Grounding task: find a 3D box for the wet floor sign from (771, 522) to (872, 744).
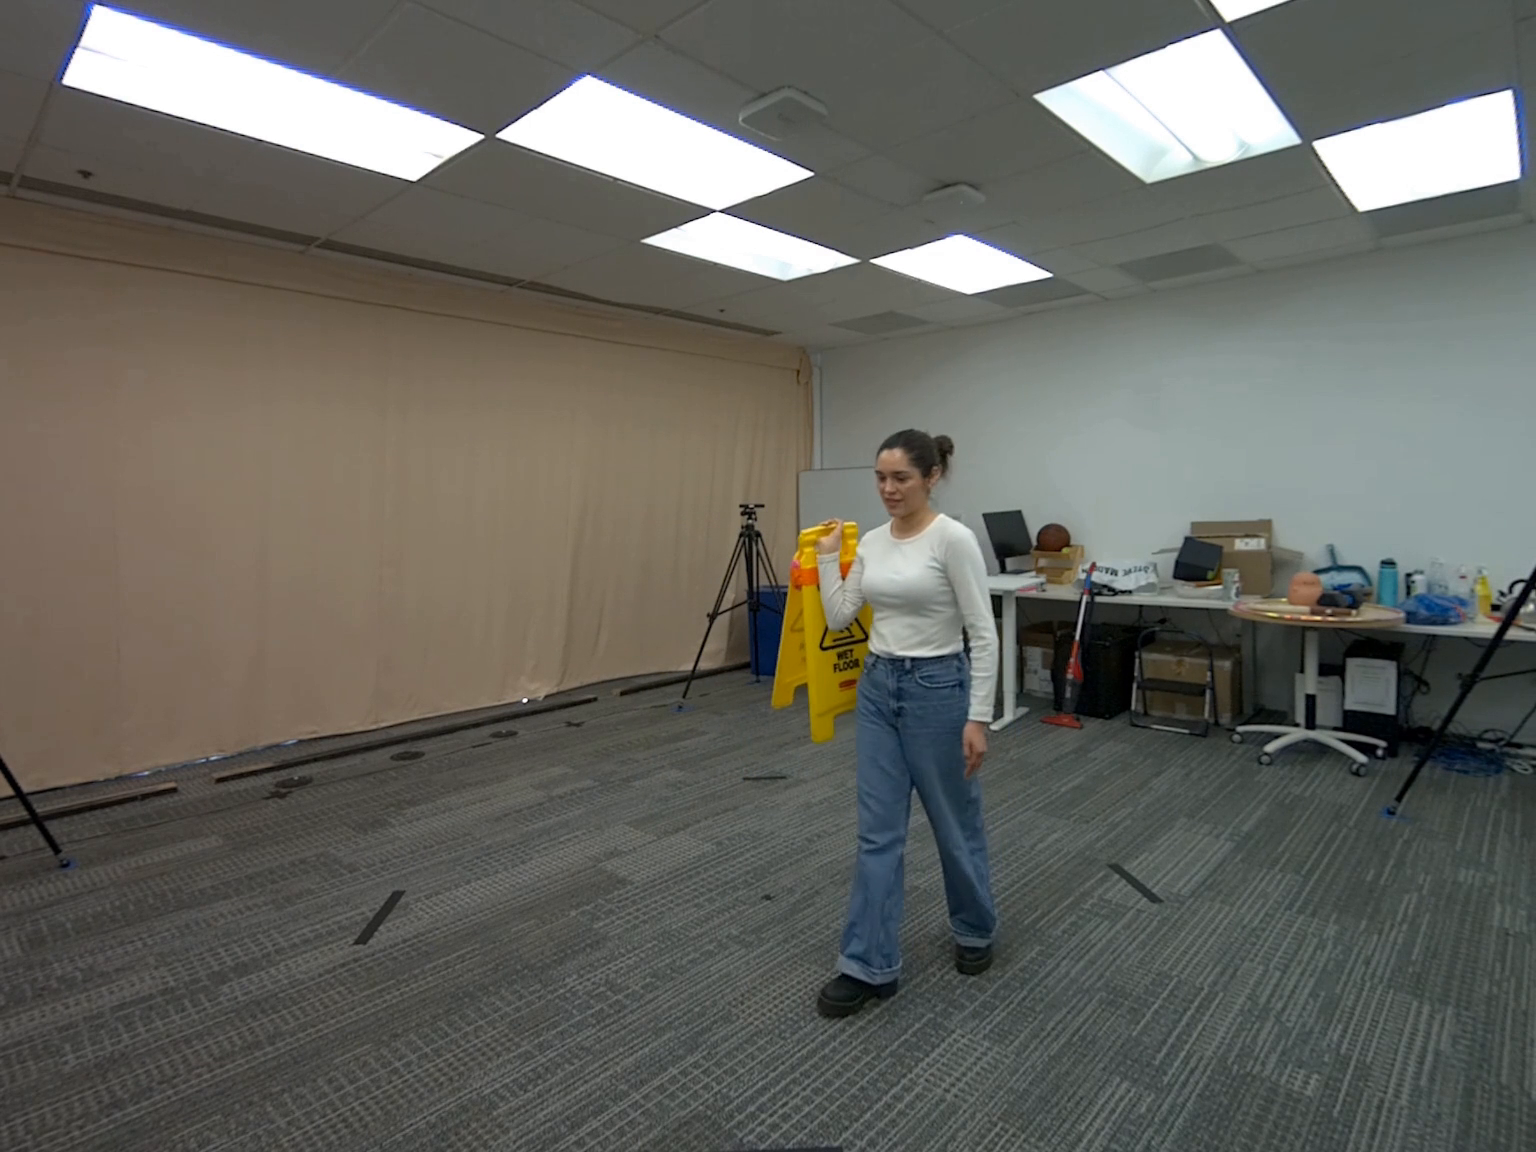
[{"bbox_3d":[0.191,0.149,2.670,0.276,0.639,0.299,-9,18,-25],"label":"wet floor sign"}]
